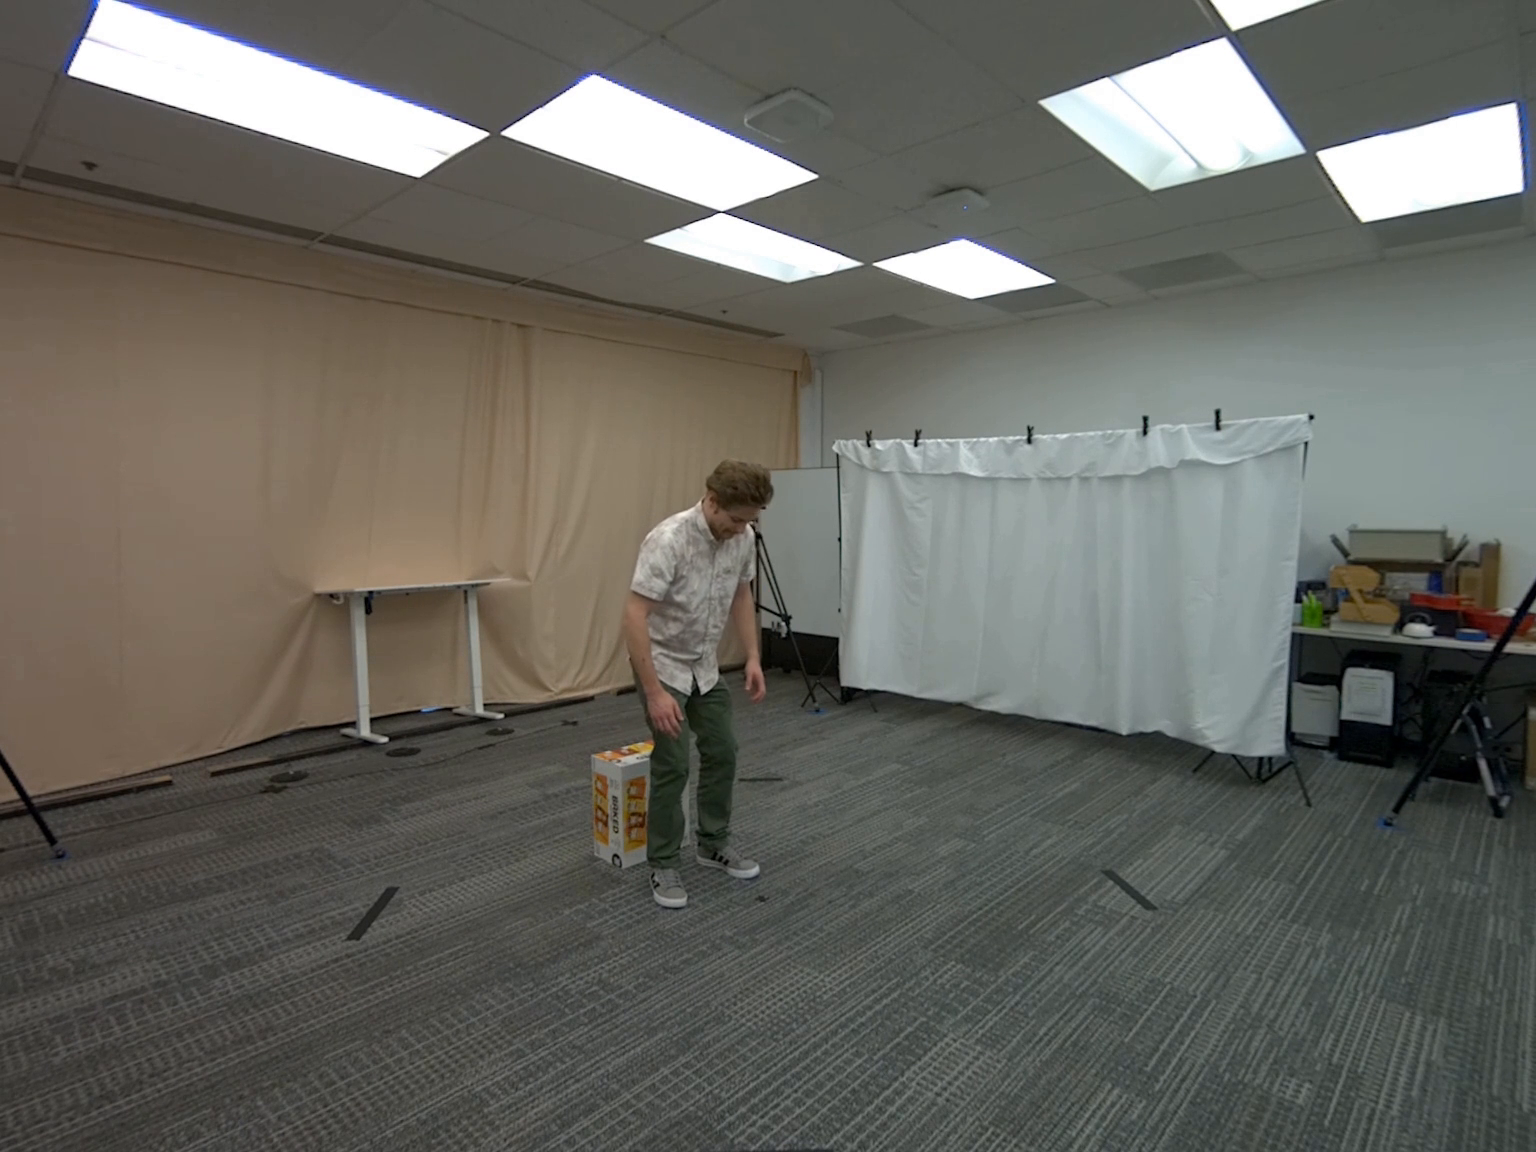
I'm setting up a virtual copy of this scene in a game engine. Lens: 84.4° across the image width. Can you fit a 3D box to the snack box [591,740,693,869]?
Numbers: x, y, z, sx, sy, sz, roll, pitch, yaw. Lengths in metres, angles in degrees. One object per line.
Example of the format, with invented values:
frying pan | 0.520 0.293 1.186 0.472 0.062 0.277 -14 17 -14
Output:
snack box | -0.514 0.911 3.407 0.330 0.404 0.212 -4 5 -44
